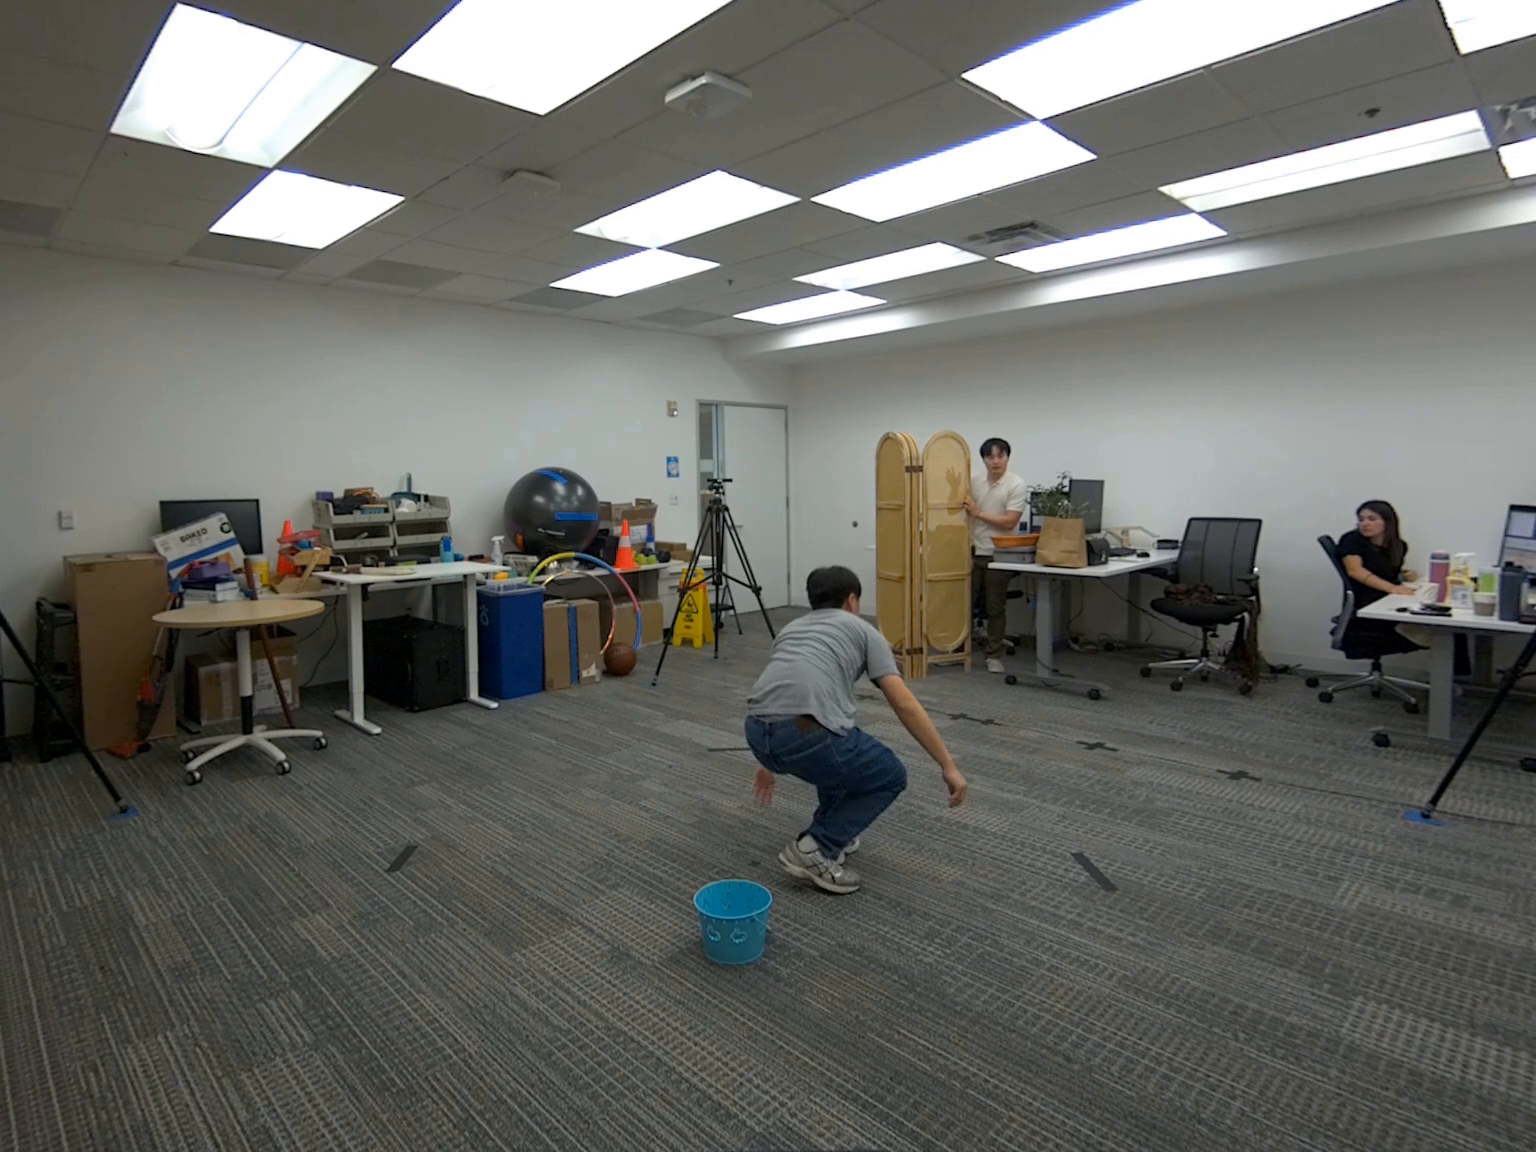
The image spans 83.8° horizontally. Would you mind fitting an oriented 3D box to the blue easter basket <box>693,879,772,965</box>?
[{"bbox_3d":[-0.093,1.034,2.548,0.243,0.155,0.245,-2,5,-2],"label":"blue easter basket"}]
